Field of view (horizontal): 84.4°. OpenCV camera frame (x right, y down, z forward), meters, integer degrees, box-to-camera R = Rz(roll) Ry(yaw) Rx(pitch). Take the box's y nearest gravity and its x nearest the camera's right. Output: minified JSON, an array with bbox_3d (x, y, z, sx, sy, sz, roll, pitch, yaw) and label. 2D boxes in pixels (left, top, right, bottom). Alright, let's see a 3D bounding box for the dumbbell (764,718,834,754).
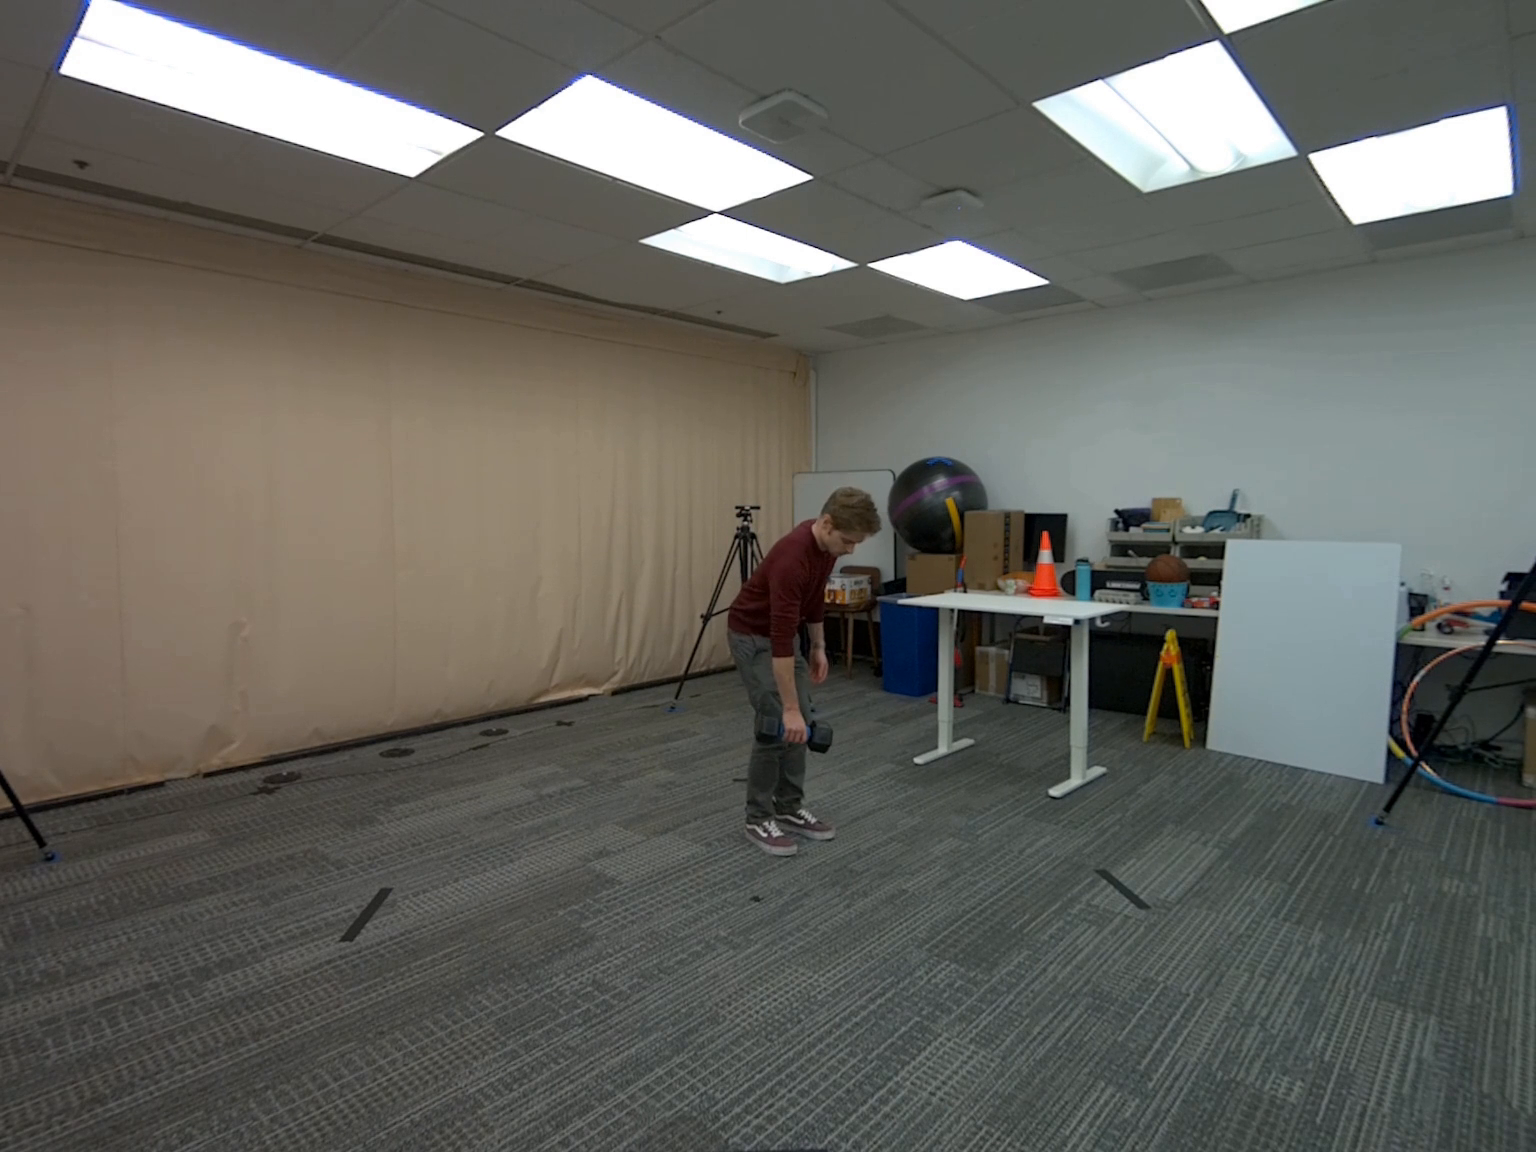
[{"bbox_3d":[0.111,0.601,3.268,0.291,0.124,0.108,10,-18,-6],"label":"dumbbell"}]
